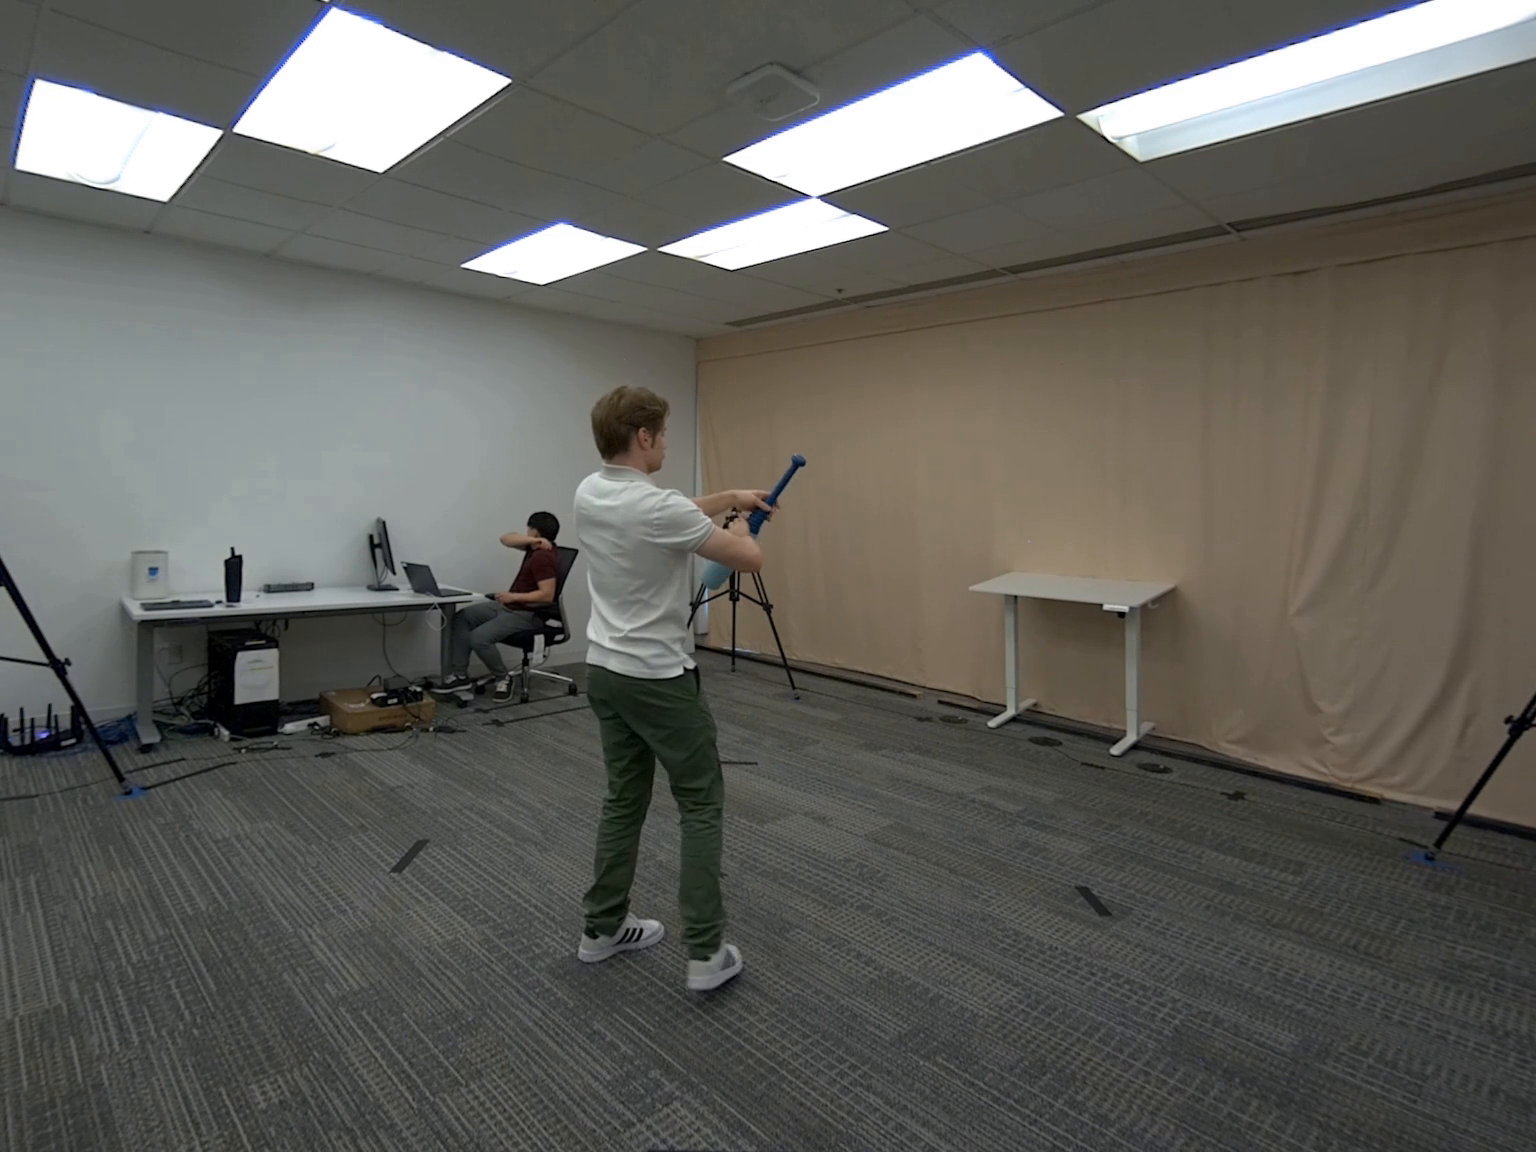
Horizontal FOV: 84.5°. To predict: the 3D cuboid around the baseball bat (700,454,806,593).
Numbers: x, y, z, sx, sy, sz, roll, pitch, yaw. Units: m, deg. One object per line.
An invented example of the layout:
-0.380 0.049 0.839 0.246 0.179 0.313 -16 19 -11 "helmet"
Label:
-0.047 -0.176 2.744 0.088 0.542 0.090 32 19 -14 "baseball bat"
